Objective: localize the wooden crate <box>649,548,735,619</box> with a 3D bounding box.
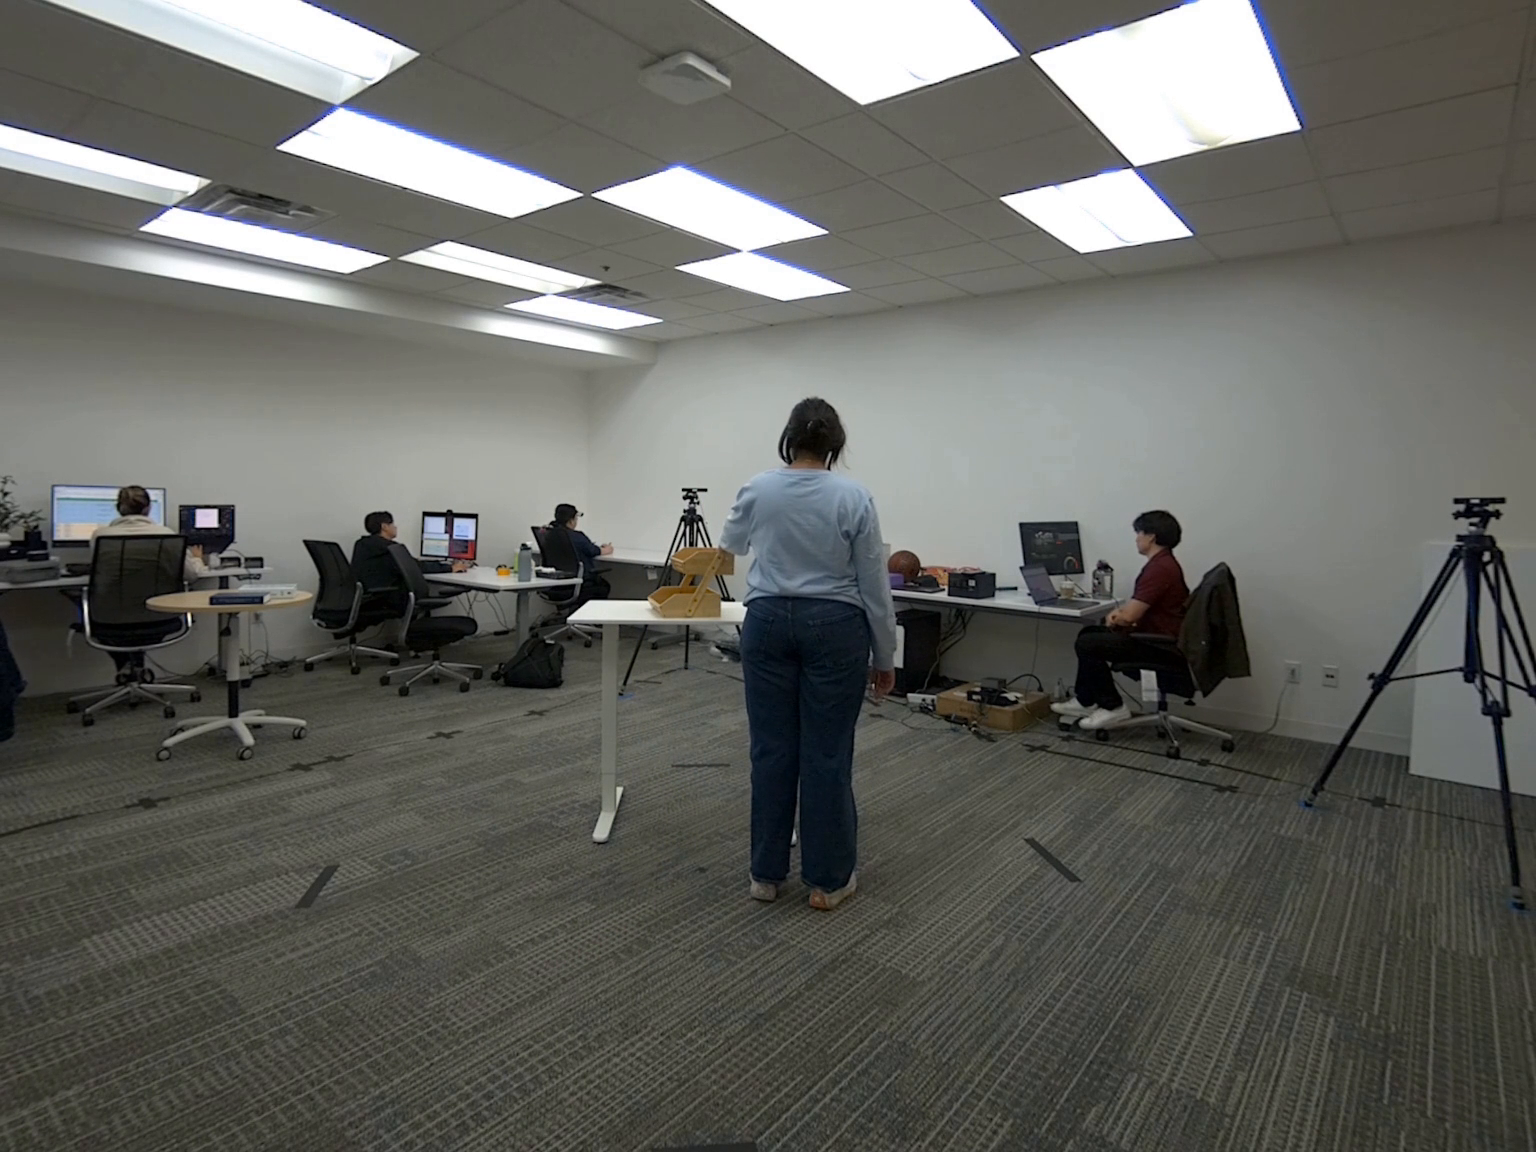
[{"bbox_3d":[-0.338,0.016,3.511,0.297,0.273,0.330,1,3,-15],"label":"wooden crate"}]
